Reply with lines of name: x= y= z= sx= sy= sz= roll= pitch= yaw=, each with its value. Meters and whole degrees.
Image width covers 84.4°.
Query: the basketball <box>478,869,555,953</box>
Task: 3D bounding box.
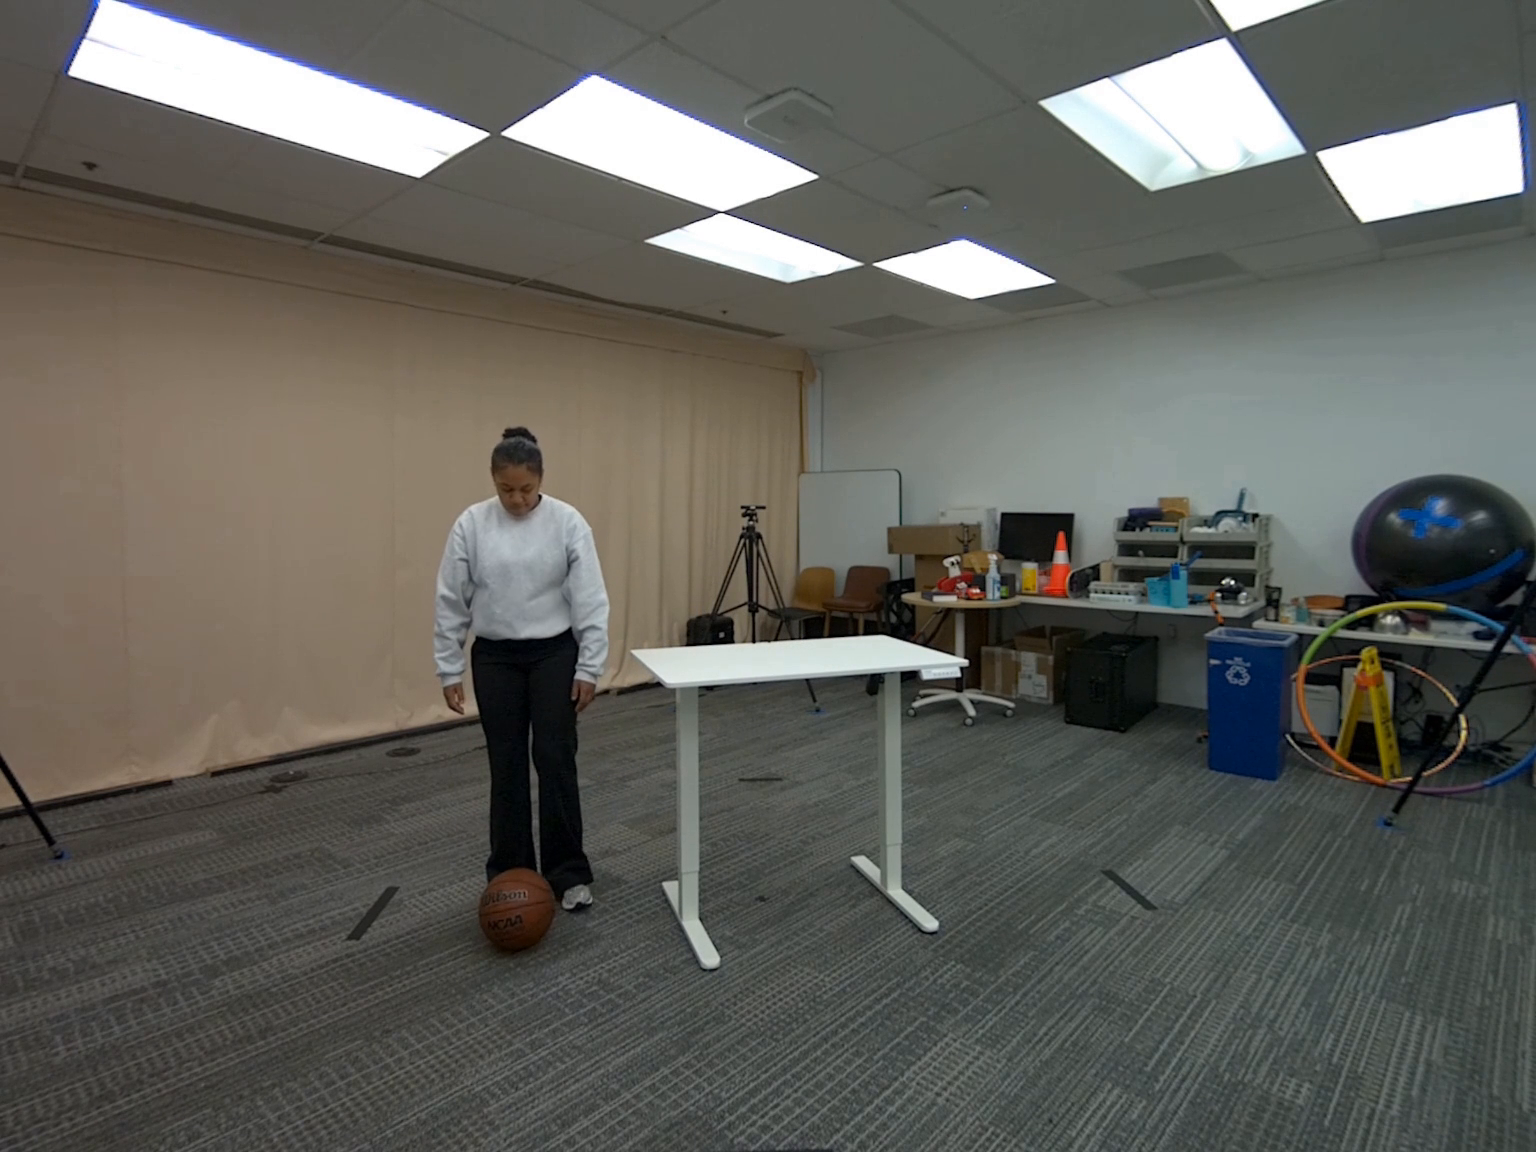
basketball: x=-0.797 y=1.050 z=2.673 sx=0.236 sy=0.235 sz=0.237 roll=0 pitch=4 yaw=-2
